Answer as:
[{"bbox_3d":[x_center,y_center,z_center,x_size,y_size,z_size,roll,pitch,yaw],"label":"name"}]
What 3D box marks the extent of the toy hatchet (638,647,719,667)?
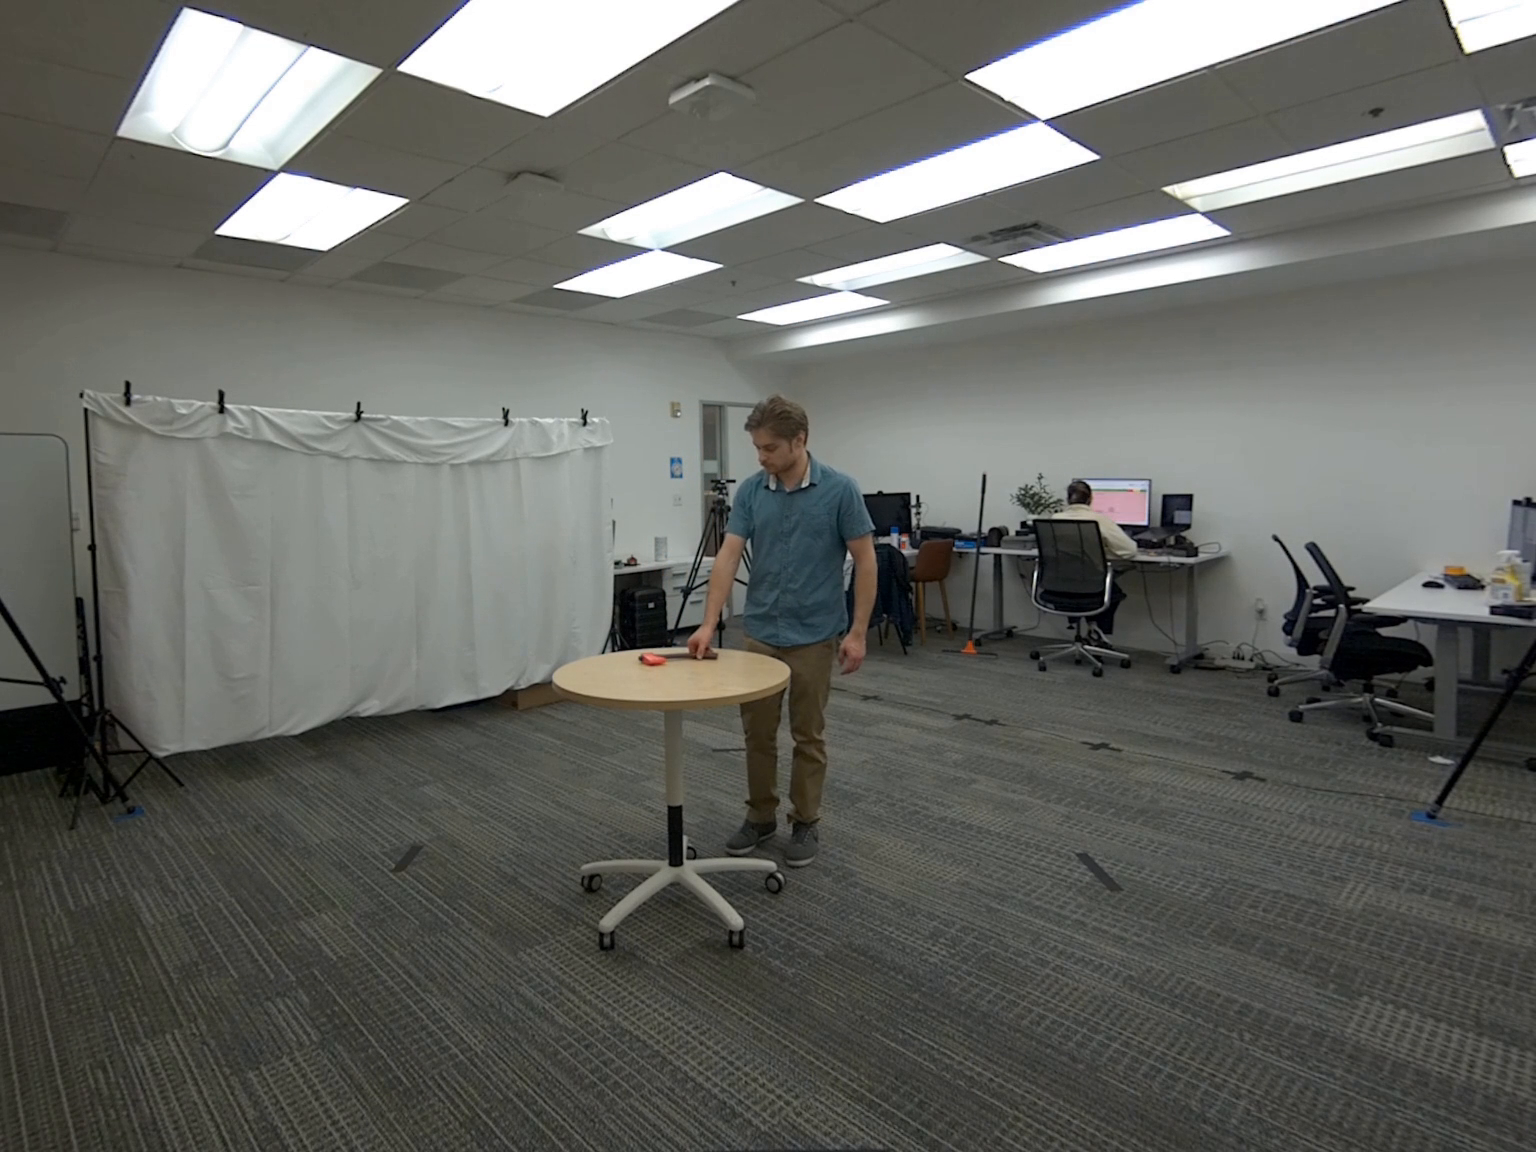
[{"bbox_3d":[-0.309,0.281,2.897,0.270,0.029,0.131,0,4,-1],"label":"toy hatchet"}]
